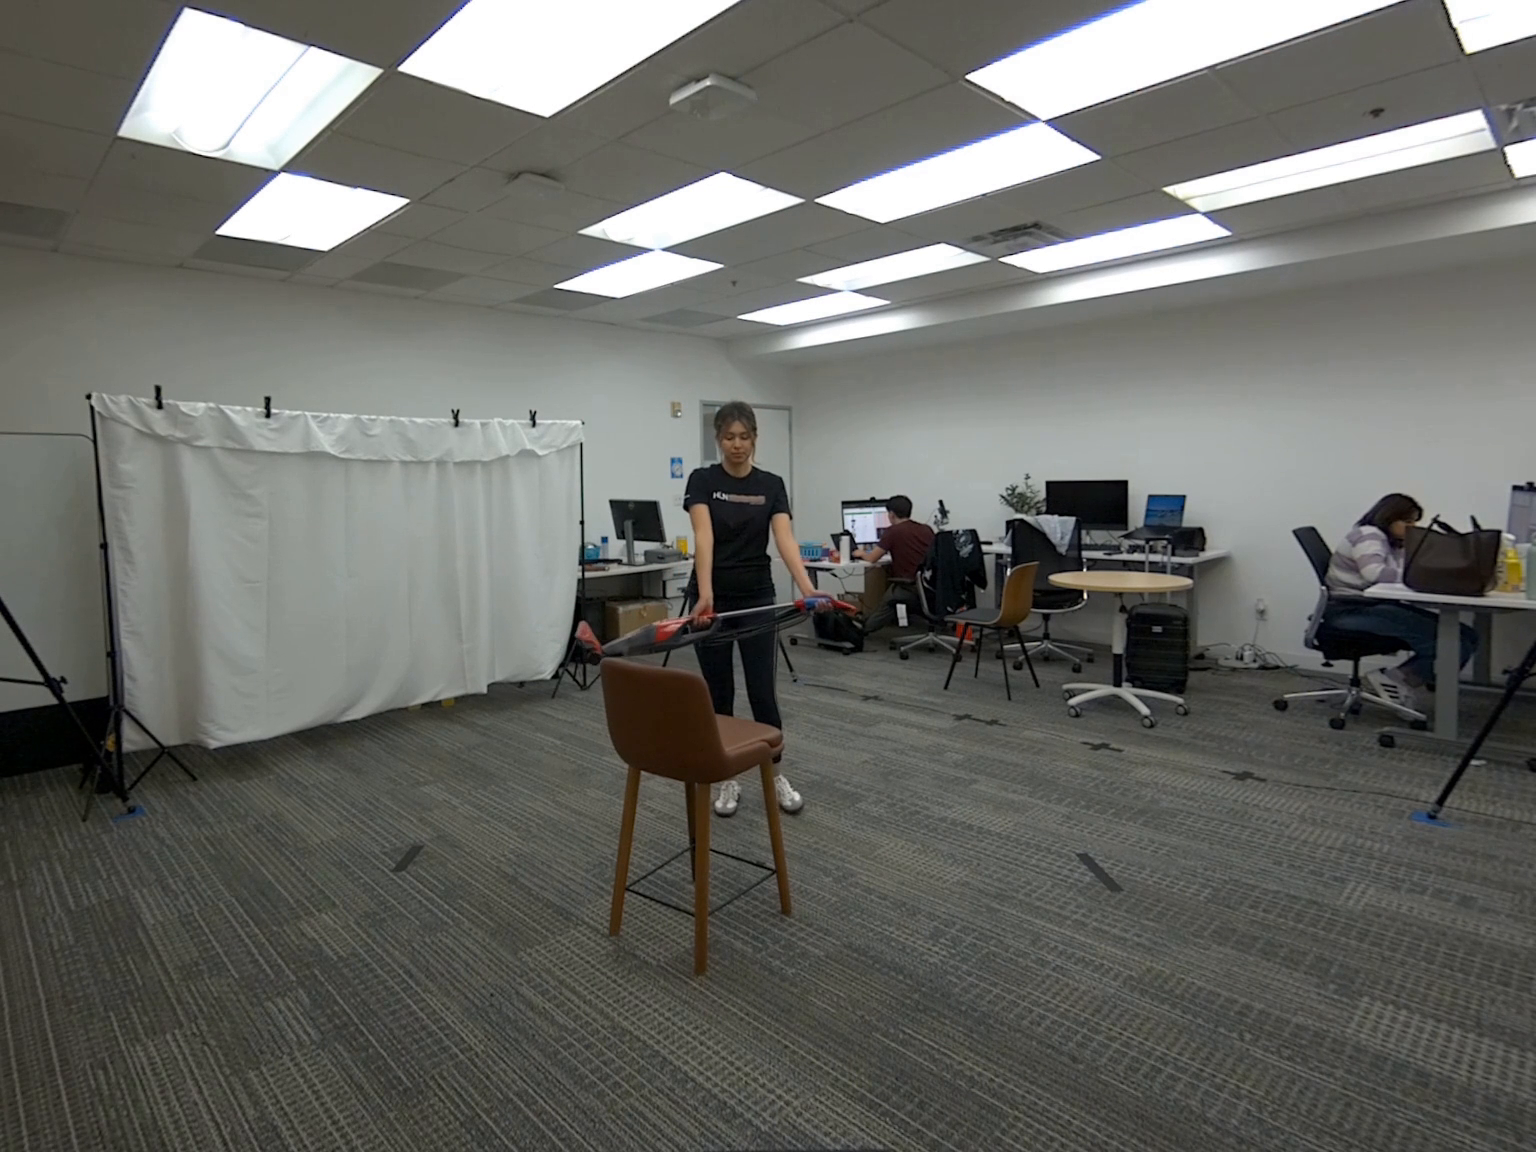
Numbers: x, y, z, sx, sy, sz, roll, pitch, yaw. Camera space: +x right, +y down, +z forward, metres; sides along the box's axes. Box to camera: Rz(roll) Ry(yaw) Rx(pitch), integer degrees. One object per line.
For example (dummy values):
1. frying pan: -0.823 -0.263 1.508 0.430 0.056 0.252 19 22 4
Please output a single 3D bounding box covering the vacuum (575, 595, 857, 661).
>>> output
1. vacuum: -0.186 0.207 3.283 1.046 0.143 0.255 -7 6 -4
